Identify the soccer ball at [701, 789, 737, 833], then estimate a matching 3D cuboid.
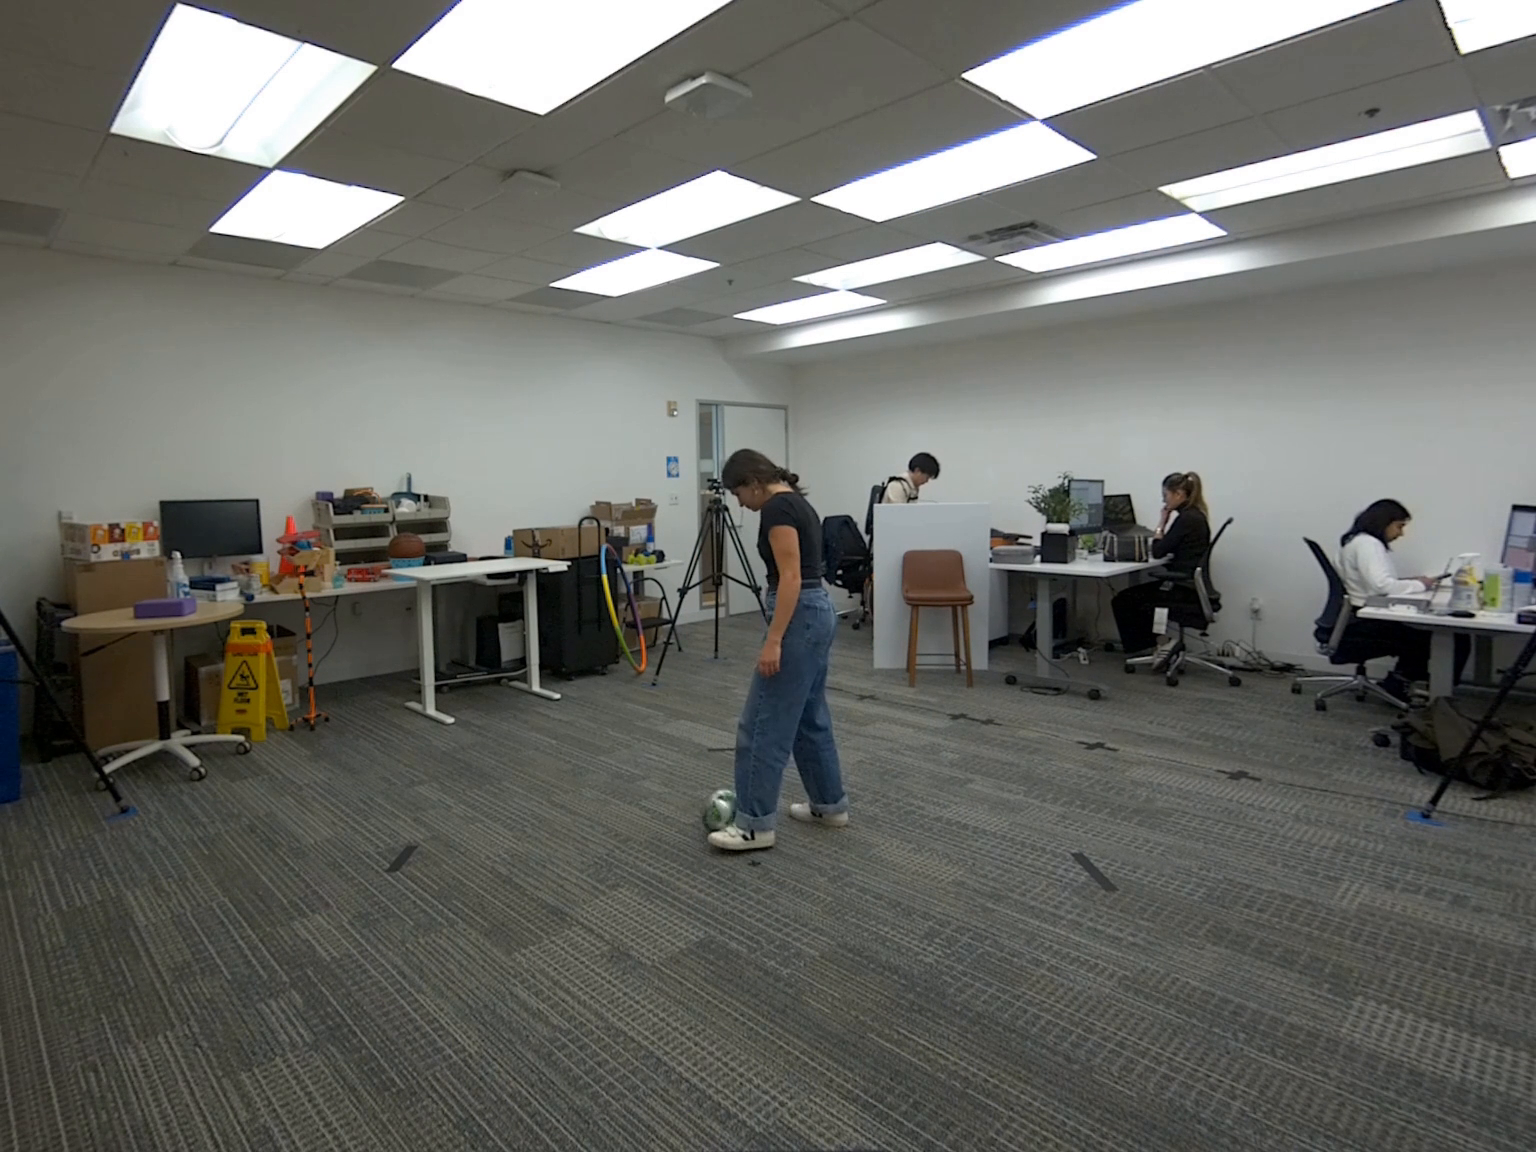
[{"bbox_3d":[-0.169,0.928,3.352,0.187,0.187,0.188,-1,5,-2],"label":"soccer ball"}]
